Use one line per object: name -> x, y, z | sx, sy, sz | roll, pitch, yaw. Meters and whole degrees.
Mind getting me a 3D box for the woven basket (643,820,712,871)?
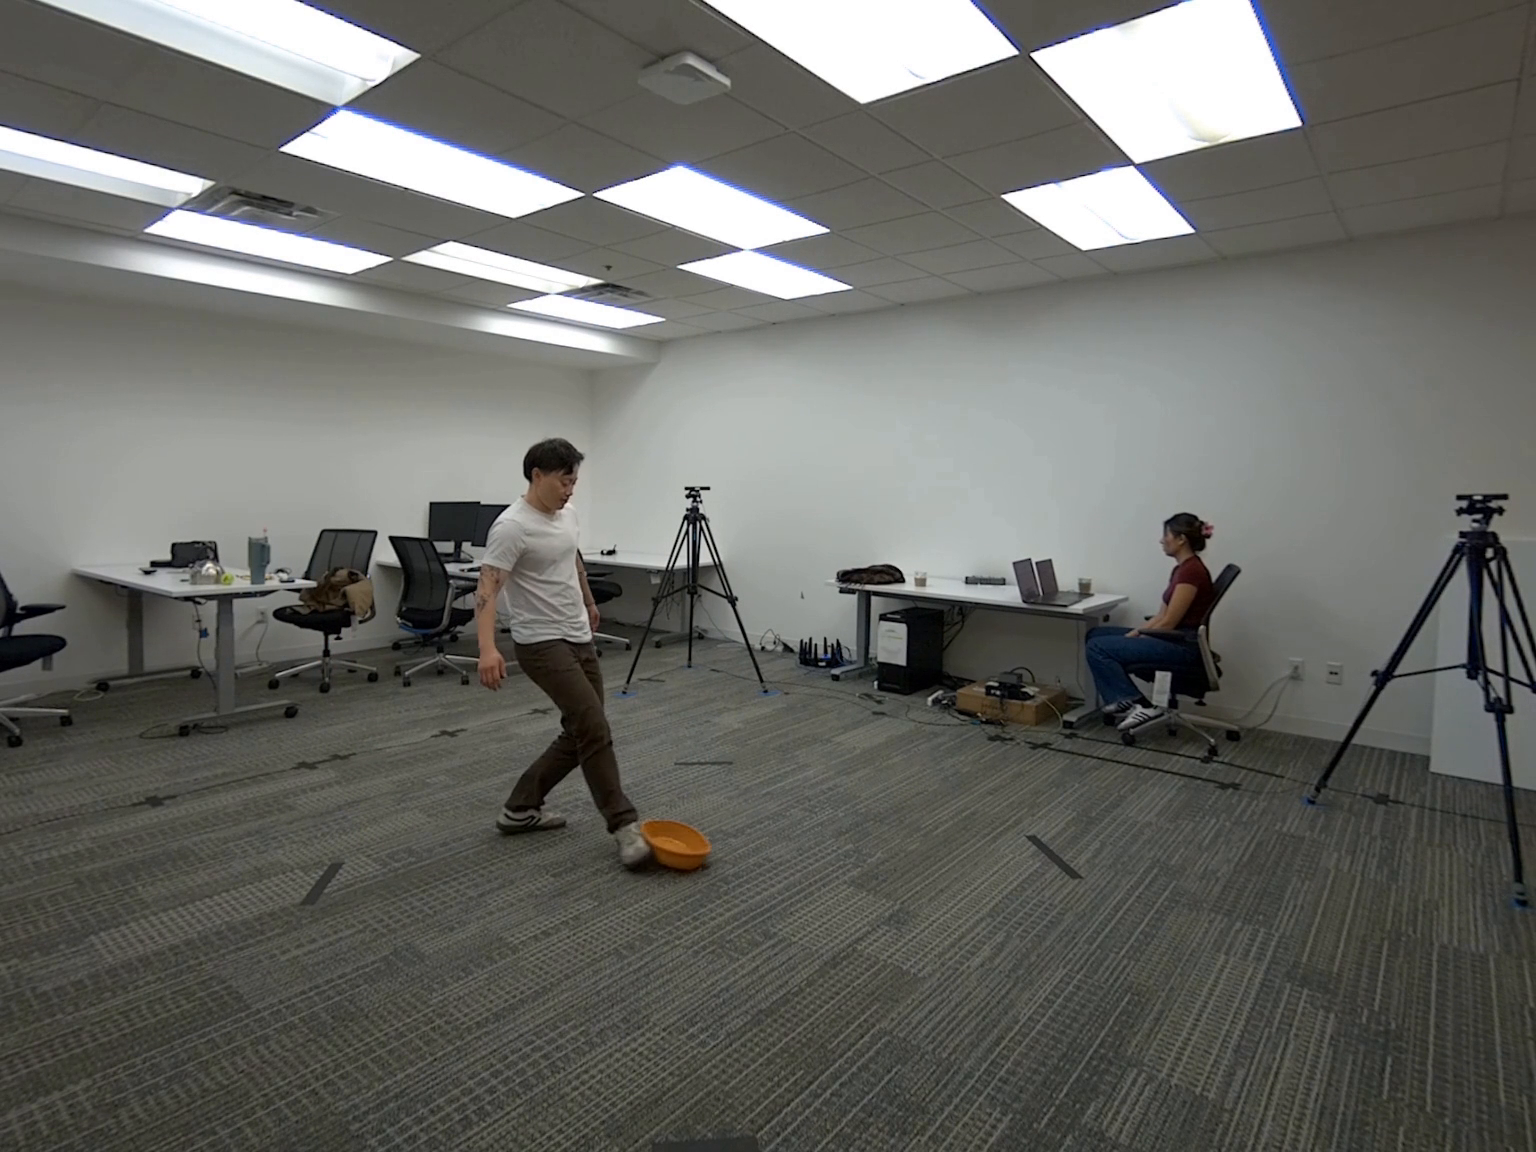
woven basket -> -0.365, 1.002, 3.185 | 0.248, 0.073, 0.357 | 8, 1, -16
